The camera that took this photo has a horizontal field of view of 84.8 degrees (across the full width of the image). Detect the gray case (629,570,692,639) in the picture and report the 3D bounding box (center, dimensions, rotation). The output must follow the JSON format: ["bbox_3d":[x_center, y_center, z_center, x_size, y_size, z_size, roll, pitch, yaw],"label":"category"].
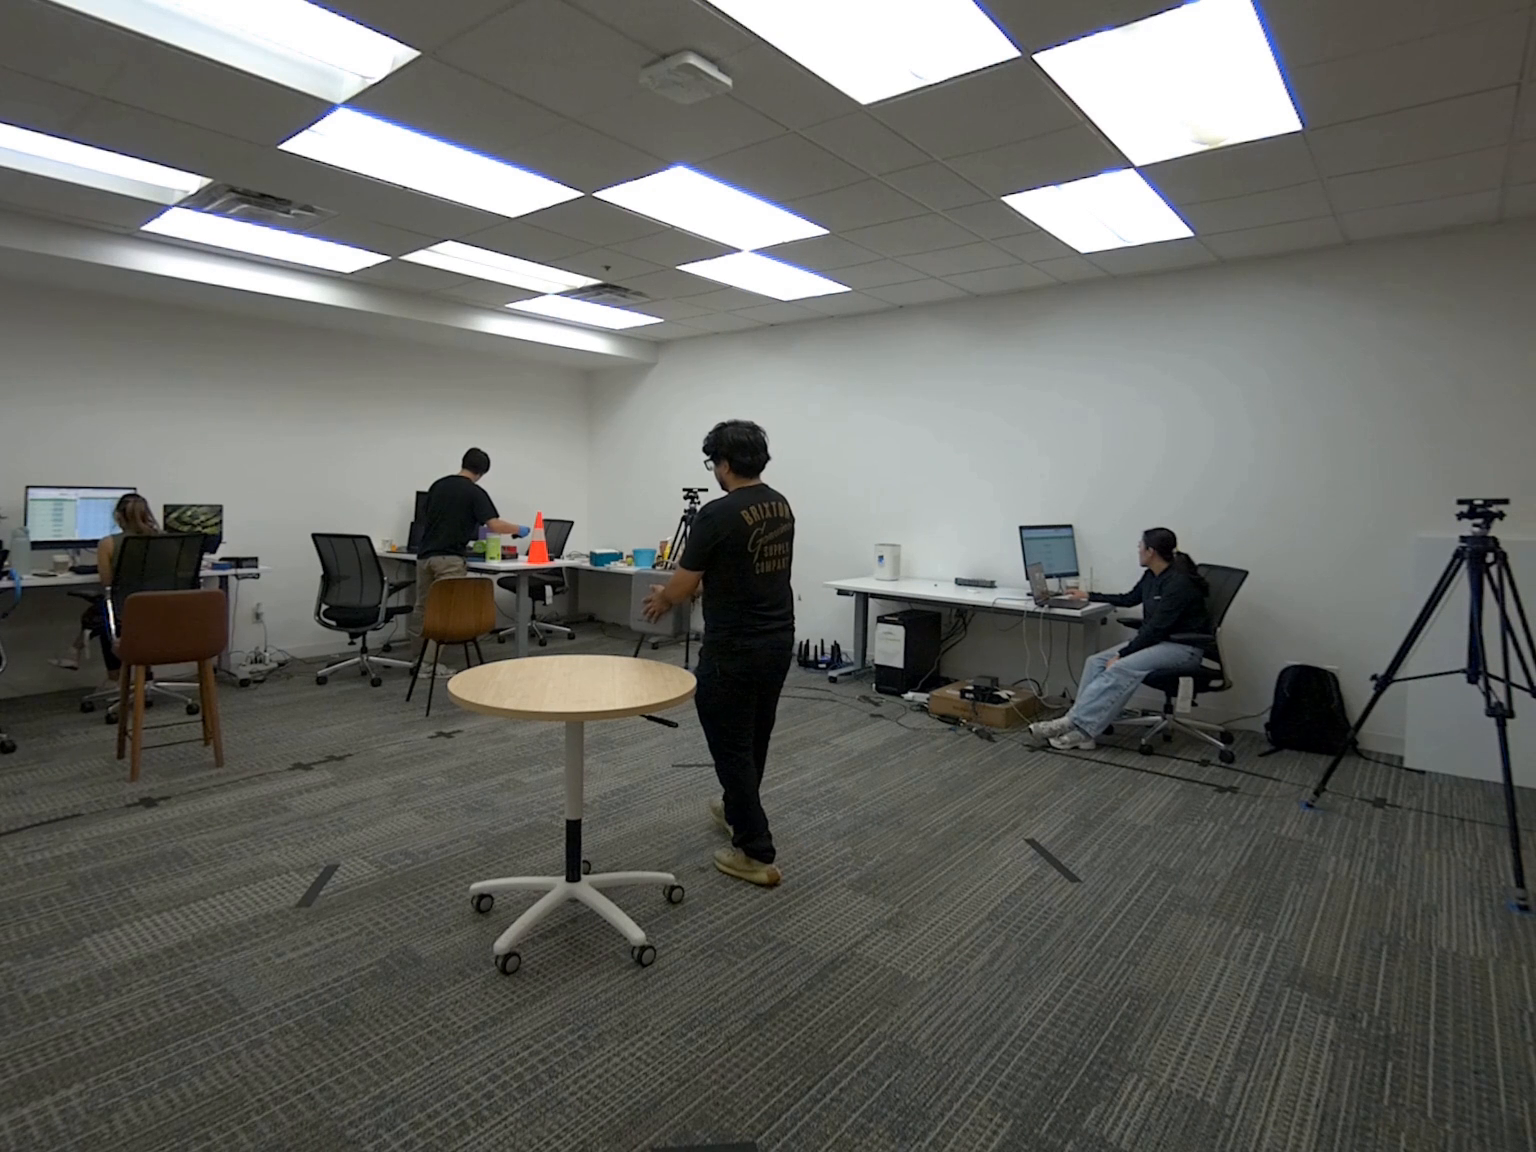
[{"bbox_3d":[-0.441,0.096,3.378,0.265,0.260,0.101,3,1,36],"label":"gray case"}]
